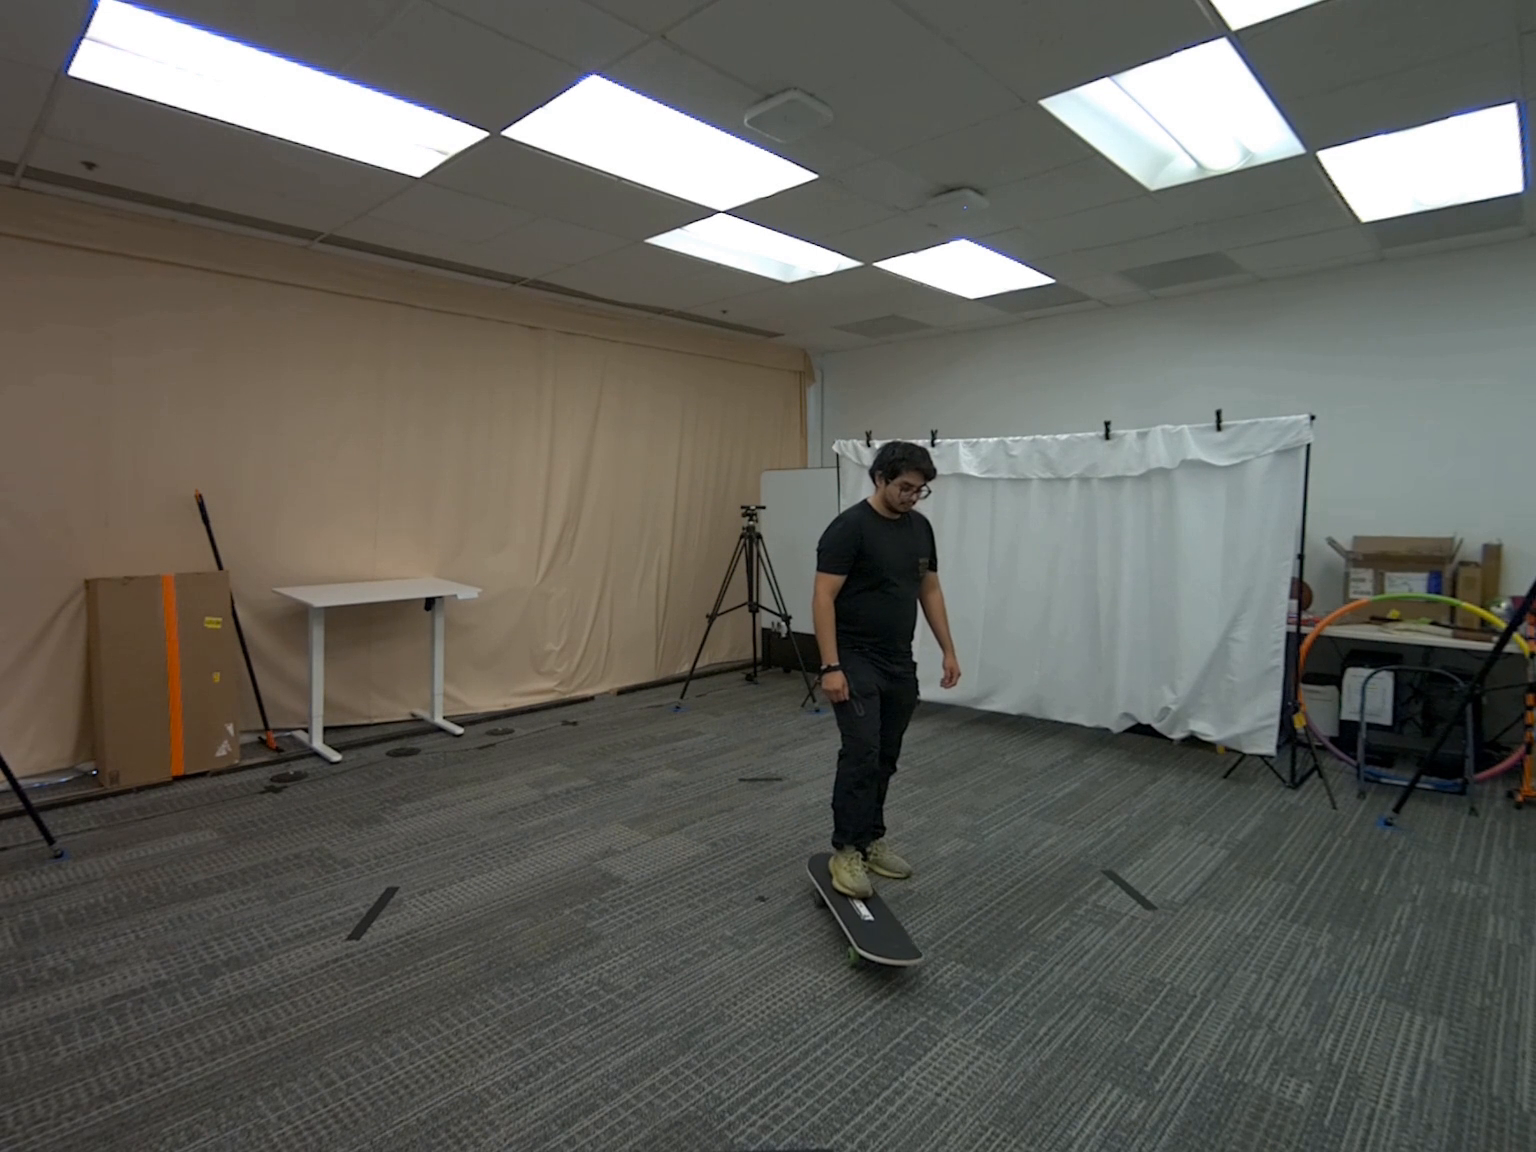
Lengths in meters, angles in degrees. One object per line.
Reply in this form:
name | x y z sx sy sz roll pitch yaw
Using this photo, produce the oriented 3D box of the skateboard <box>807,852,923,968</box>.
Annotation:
skateboard | 0.298 1.104 2.741 0.191 0.110 0.794 3 3 -11
